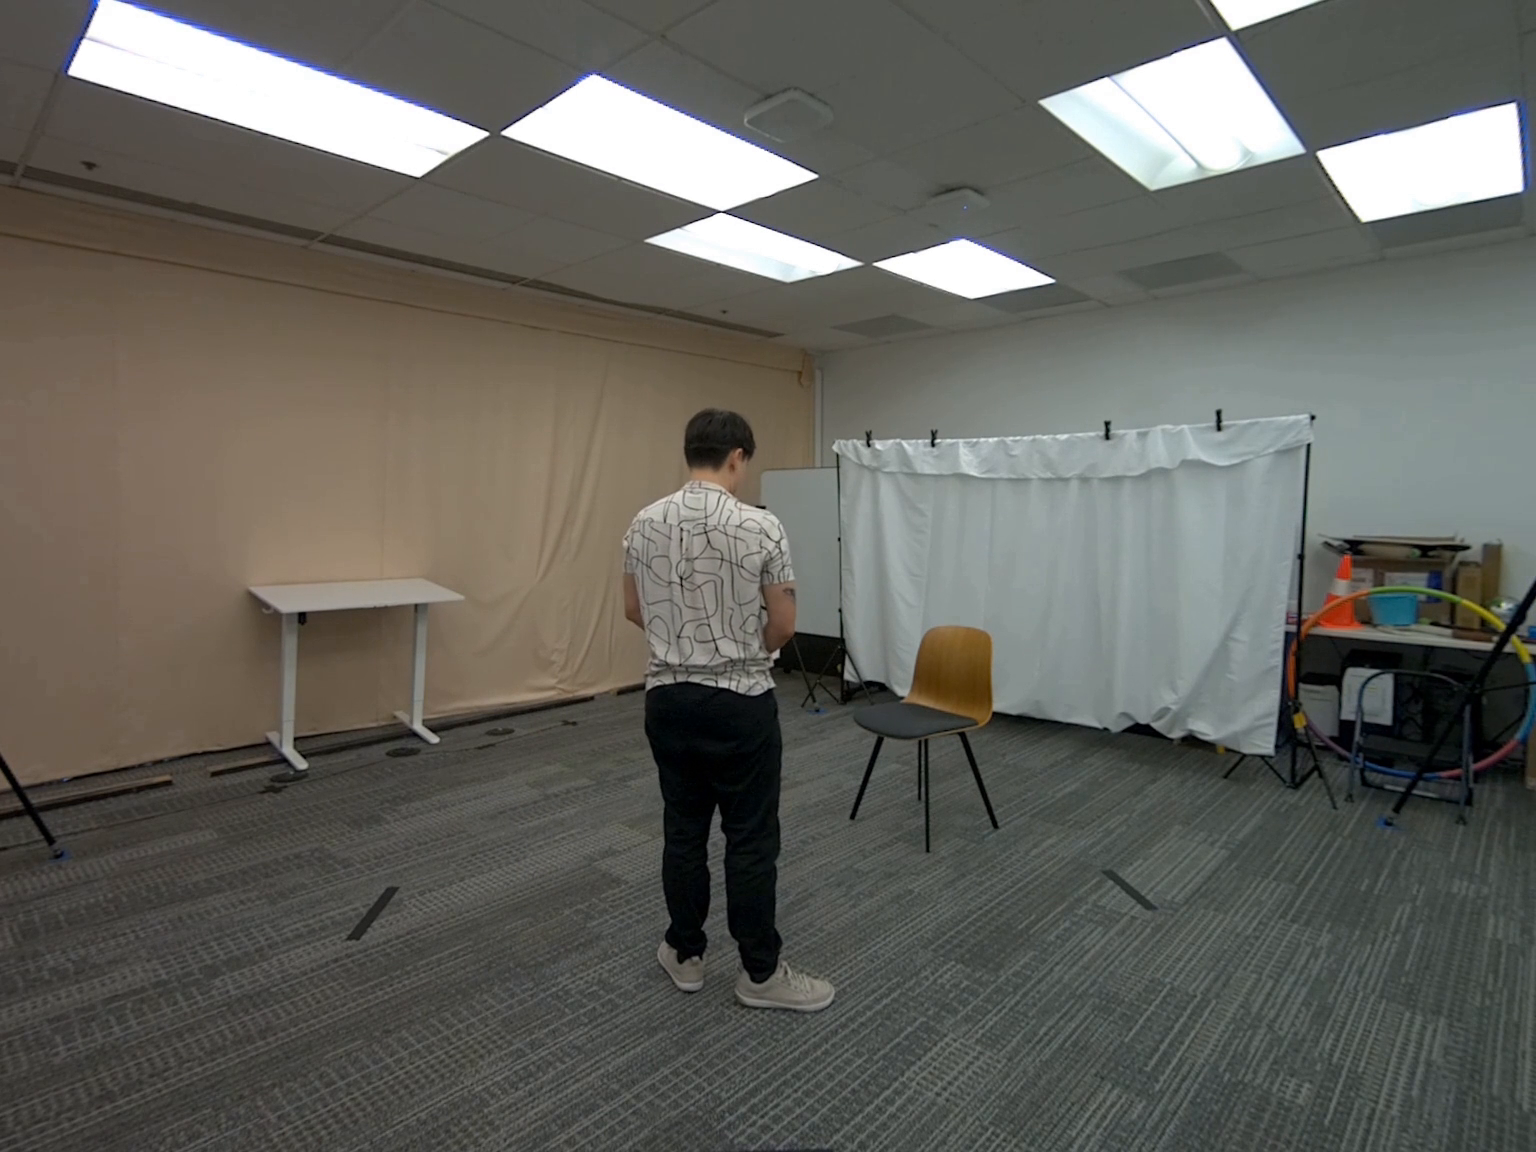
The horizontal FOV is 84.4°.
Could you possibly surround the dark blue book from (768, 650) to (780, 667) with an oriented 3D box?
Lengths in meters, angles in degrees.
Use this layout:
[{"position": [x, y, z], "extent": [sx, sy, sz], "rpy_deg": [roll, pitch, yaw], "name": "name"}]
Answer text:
[{"position": [-0.068, 0.261, 2.700], "extent": [0.167, 0.045, 0.240], "rpy_deg": [3, 9, 24], "name": "dark blue book"}]
